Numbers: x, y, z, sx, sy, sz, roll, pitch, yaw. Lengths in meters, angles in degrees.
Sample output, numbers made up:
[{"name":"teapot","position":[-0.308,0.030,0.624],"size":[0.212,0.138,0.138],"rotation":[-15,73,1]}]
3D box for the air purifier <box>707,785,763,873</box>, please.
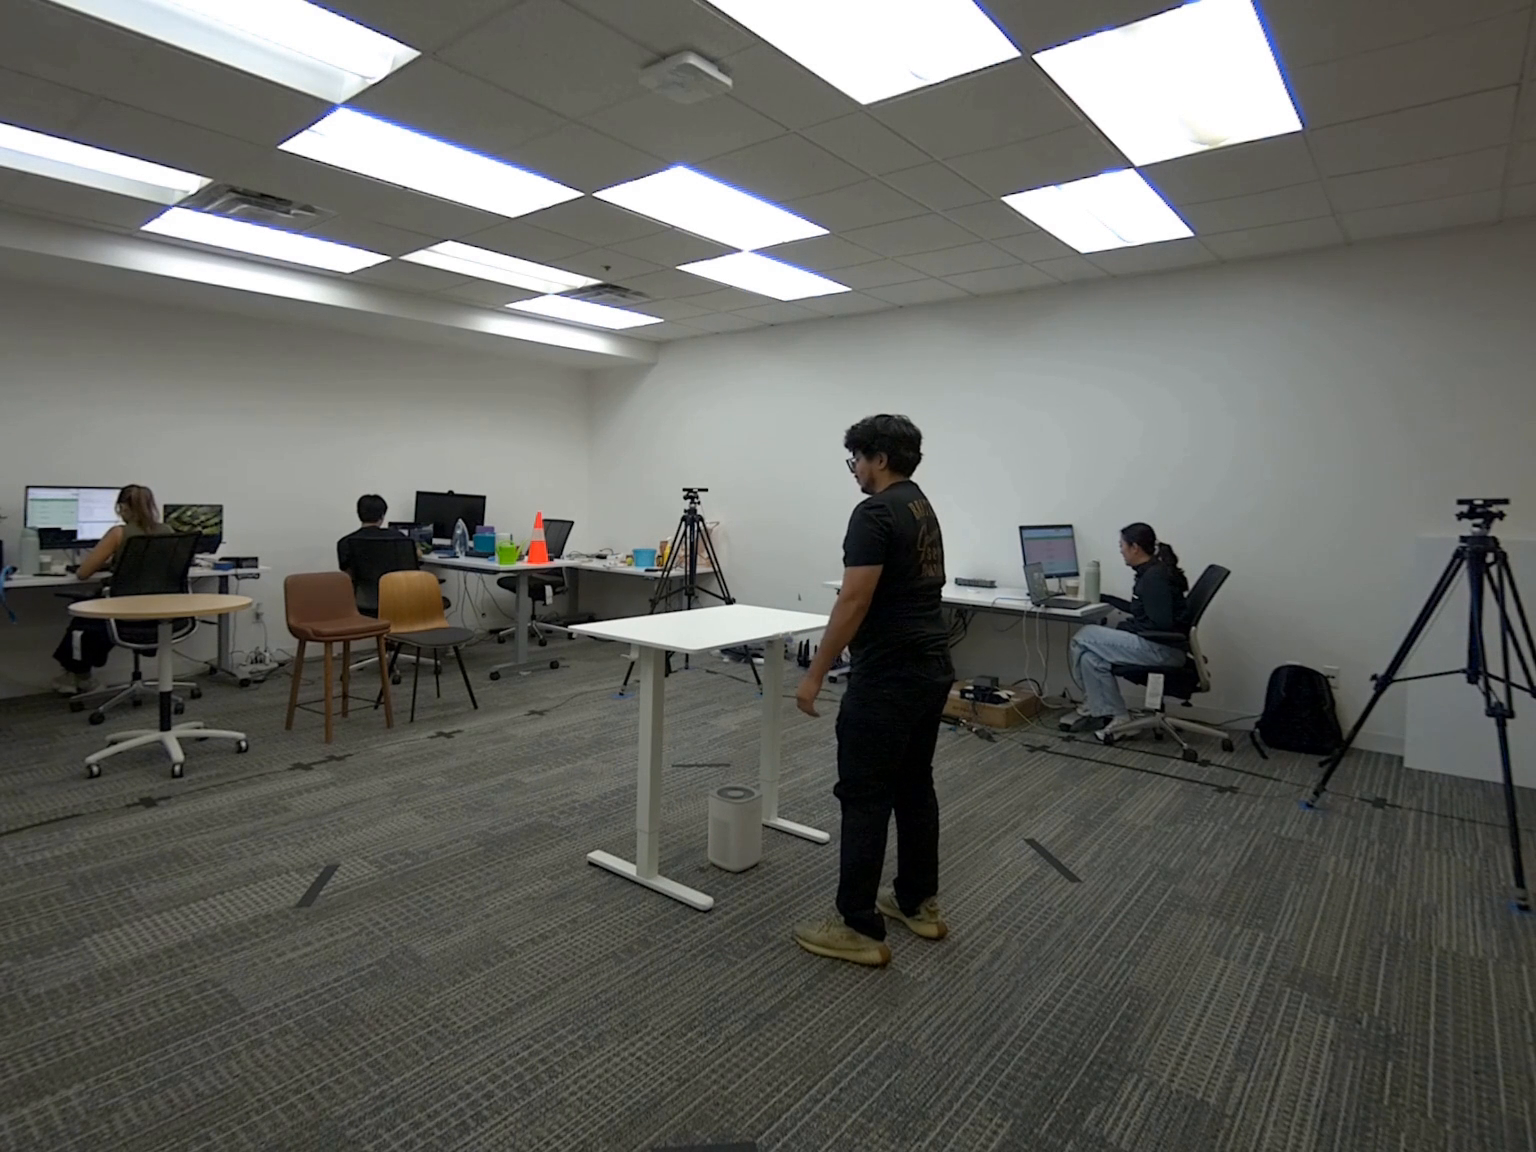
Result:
[{"name":"air purifier","position":[-0.134,0.930,3.158],"size":[0.177,0.265,0.166],"rotation":[3,4,38]}]
